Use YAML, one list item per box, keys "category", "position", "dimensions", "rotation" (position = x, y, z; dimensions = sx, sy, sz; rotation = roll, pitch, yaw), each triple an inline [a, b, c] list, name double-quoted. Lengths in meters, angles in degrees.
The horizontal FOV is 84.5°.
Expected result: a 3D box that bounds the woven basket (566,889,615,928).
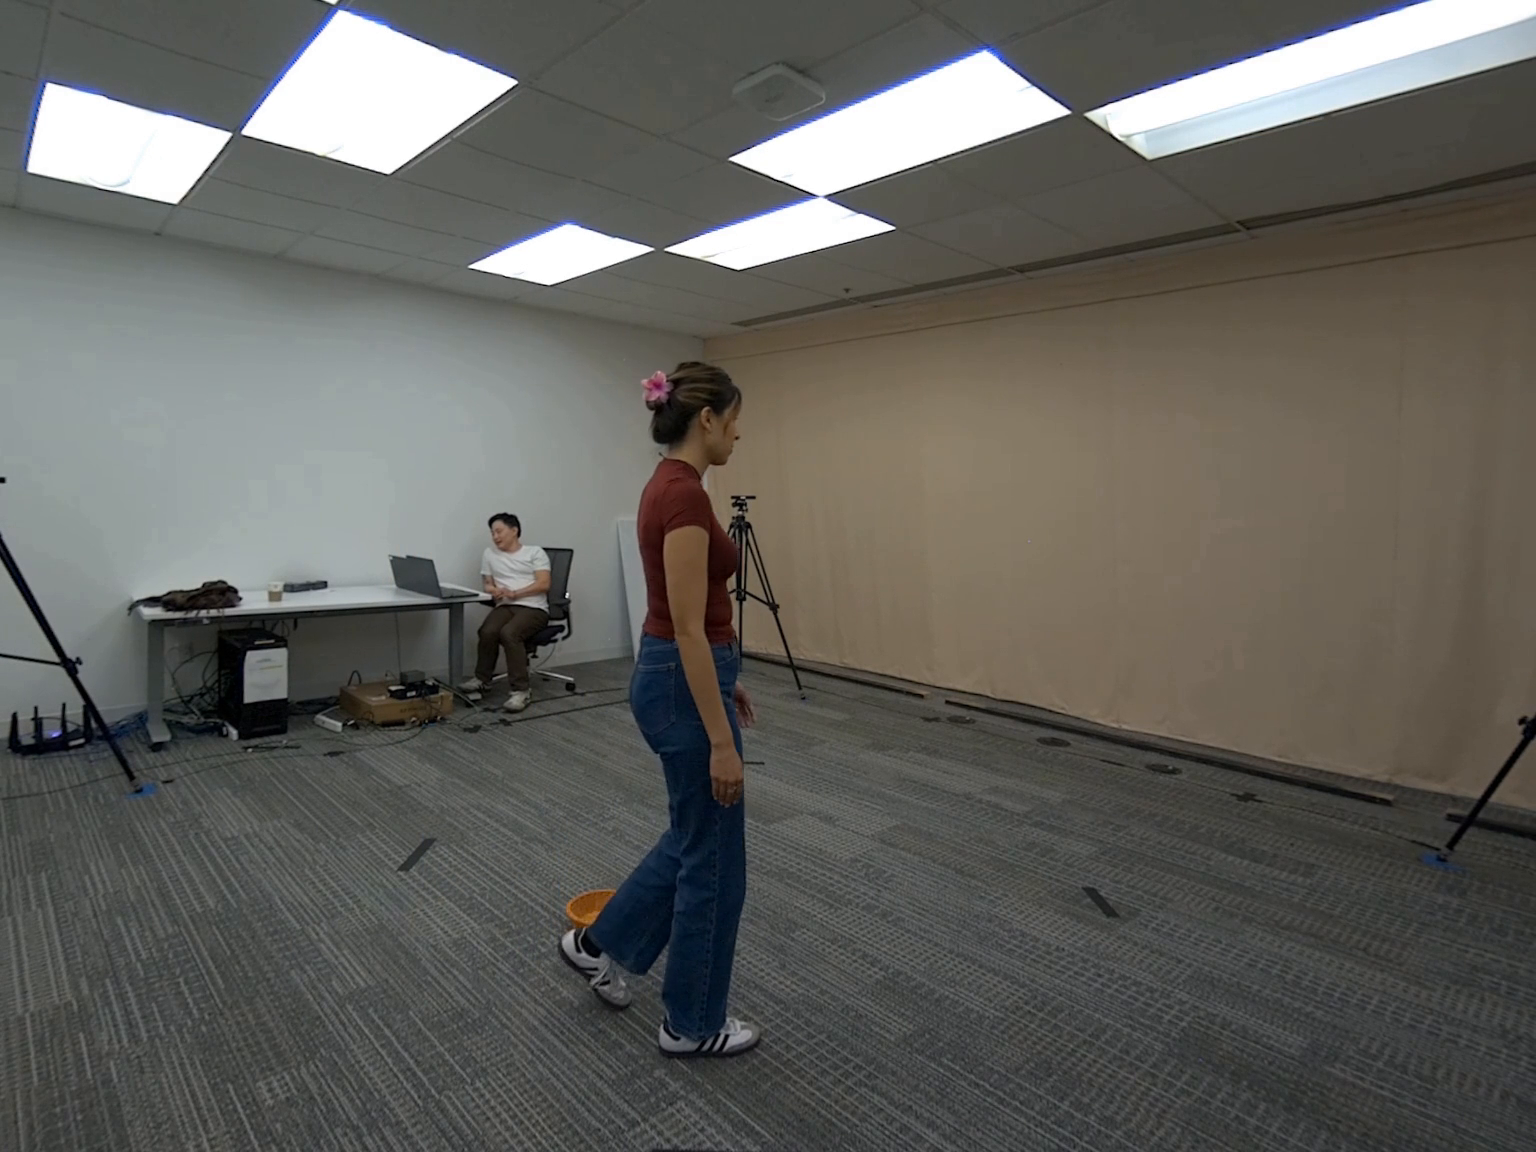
- category: "woven basket"
  position: [-0.482, 1.096, 2.679]
  dimensions: [0.357, 0.073, 0.248]
  rotation: [3, 4, 27]
